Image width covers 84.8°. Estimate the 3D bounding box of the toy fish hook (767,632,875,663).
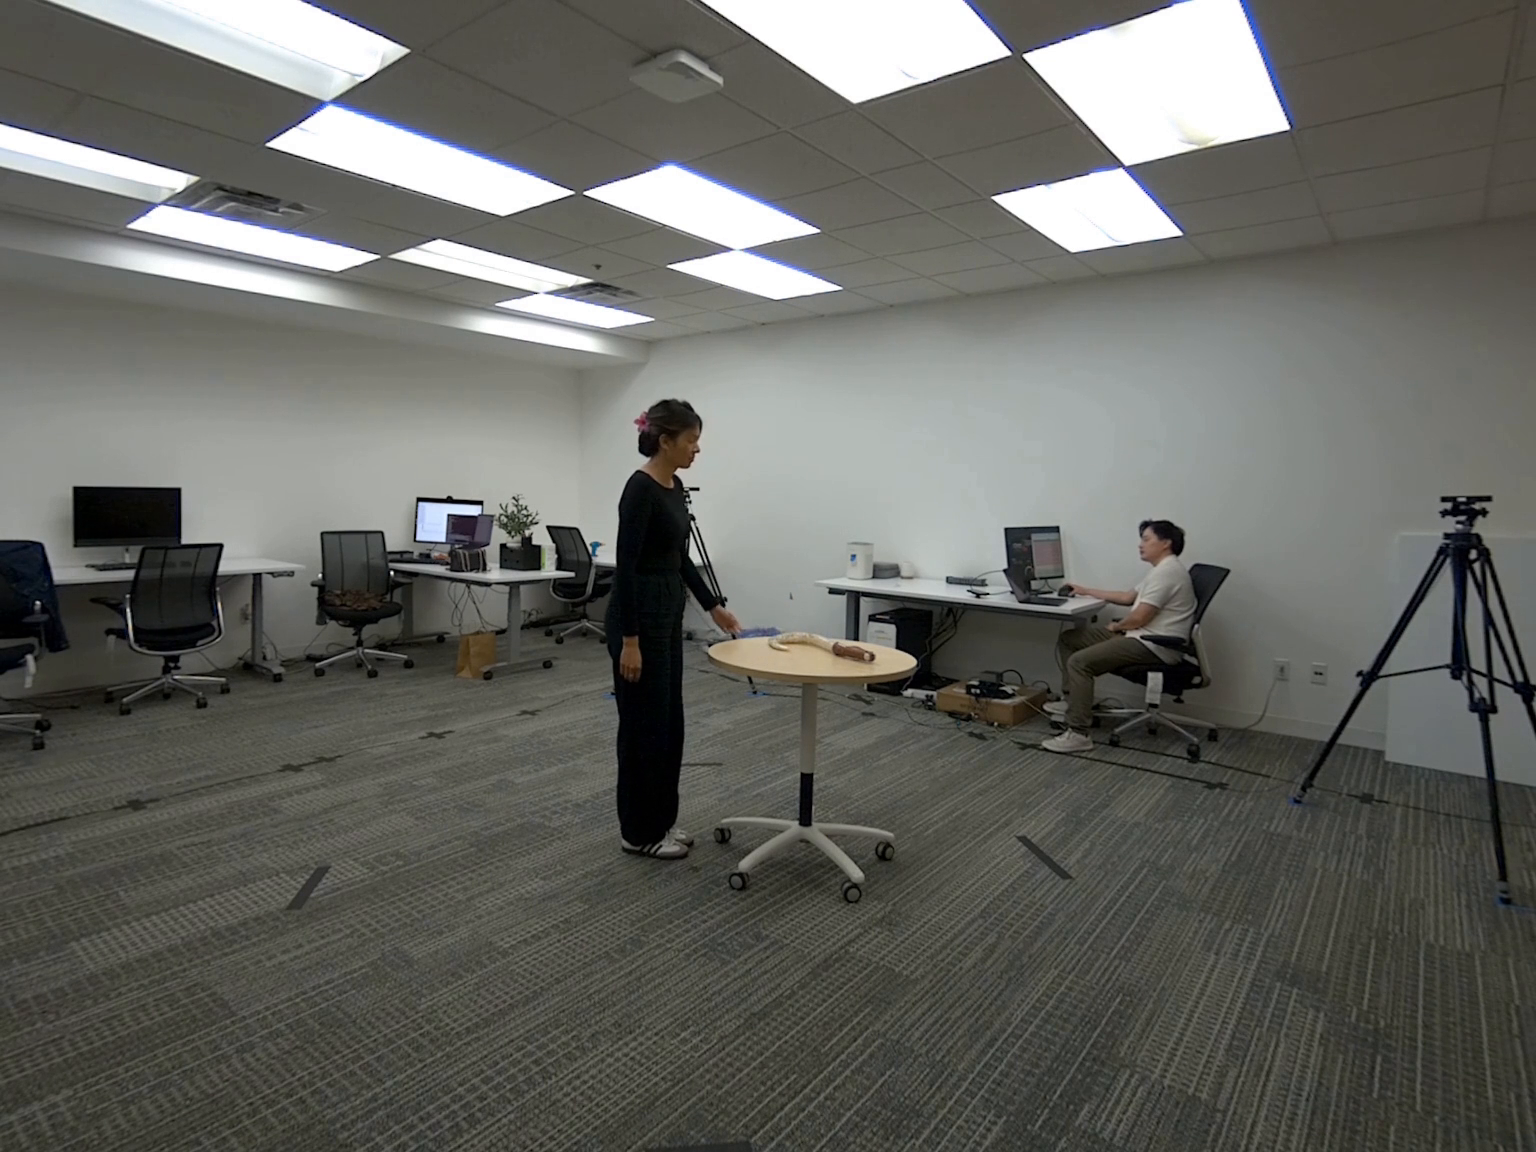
[{"bbox_3d":[0.178,0.275,3.179,0.219,0.048,0.523,-11,11,-32],"label":"toy fish hook"}]
